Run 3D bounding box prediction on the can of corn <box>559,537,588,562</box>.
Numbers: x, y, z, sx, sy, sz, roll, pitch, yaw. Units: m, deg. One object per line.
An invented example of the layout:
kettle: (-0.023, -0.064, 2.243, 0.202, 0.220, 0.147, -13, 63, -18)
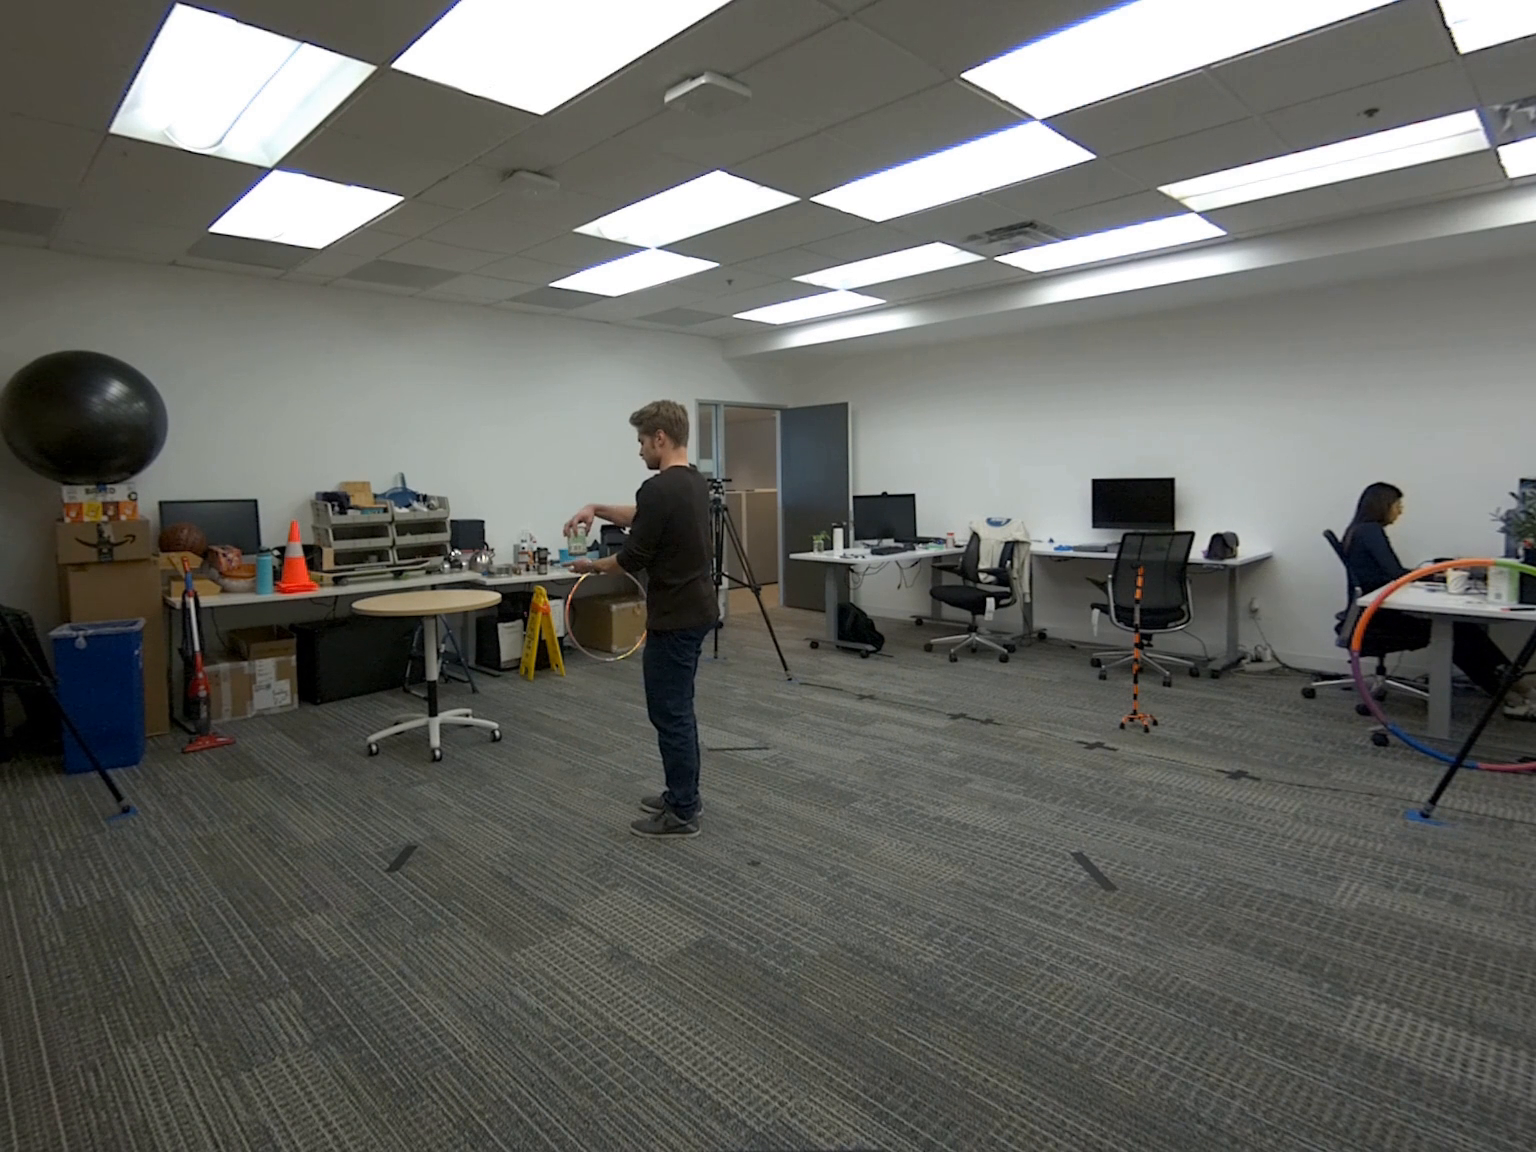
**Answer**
can of corn: (-0.777, -0.145, 3.504, 0.074, 0.112, 0.074, -4, -7, -2)
